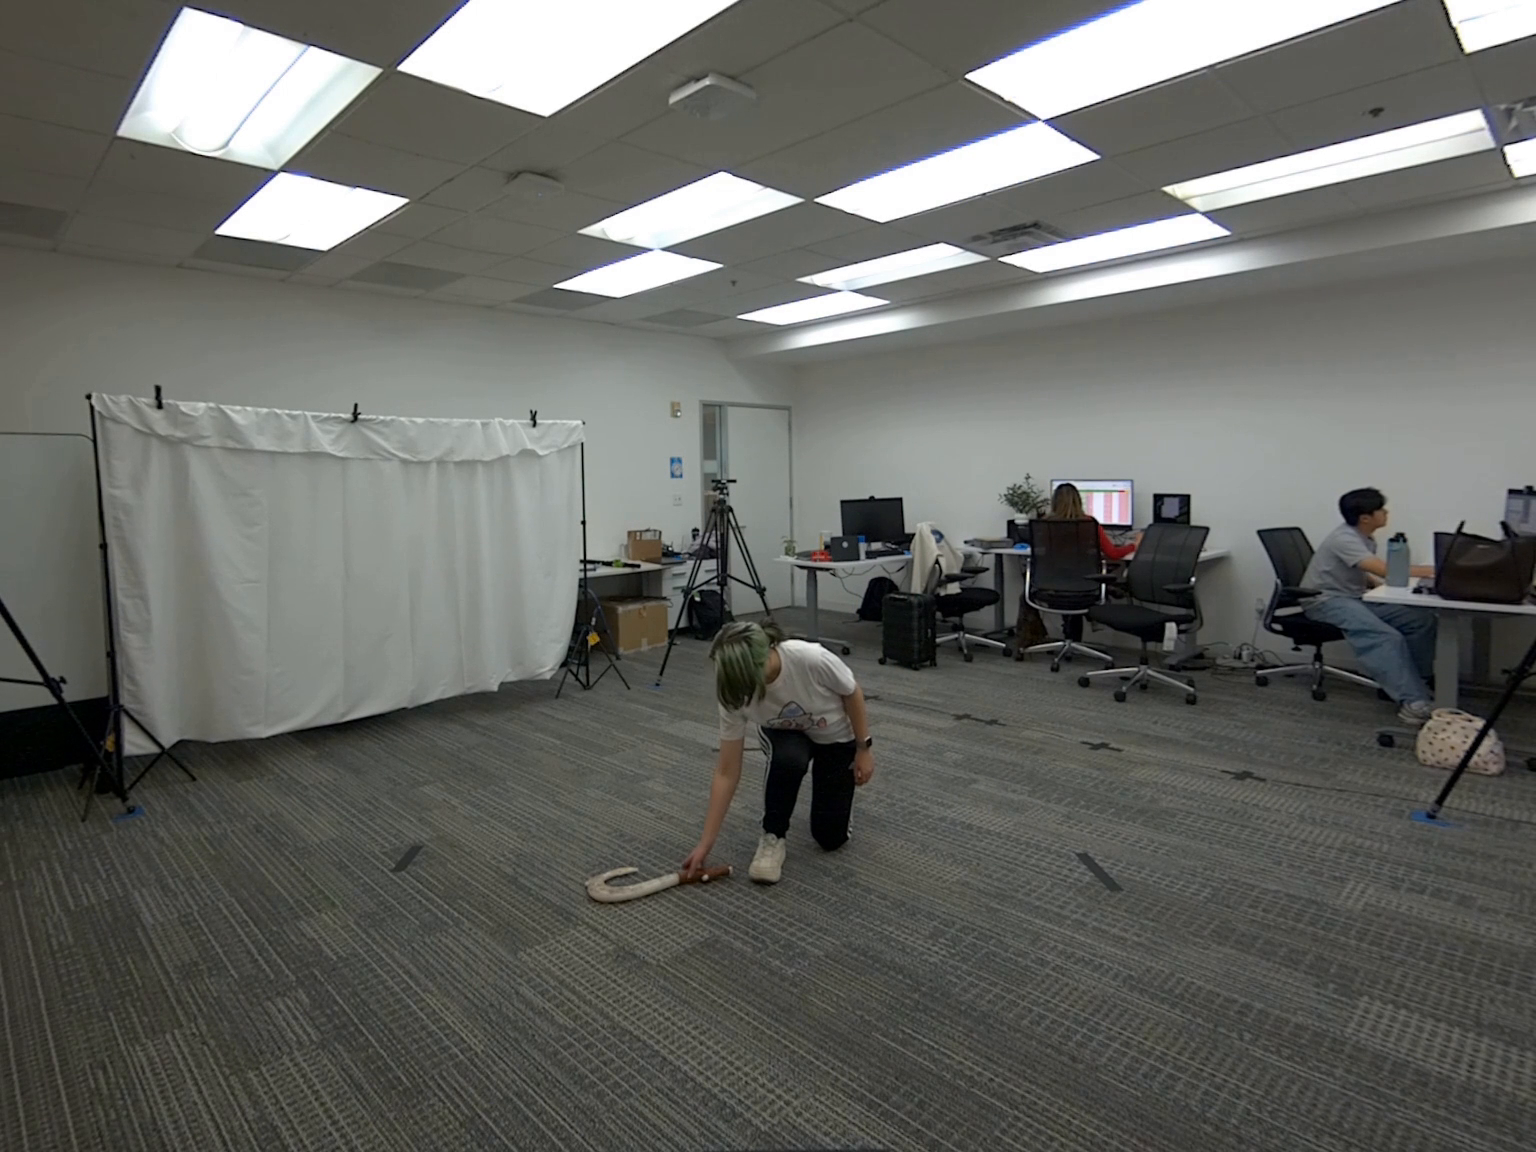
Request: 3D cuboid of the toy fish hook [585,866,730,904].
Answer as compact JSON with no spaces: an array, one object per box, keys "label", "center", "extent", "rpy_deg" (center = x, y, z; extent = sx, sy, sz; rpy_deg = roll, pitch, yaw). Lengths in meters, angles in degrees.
[{"label":"toy fish hook","center":[-0.374,1.044,2.981],"extent":[0.498,0.048,0.230],"rpy_deg":[-3,8,-19]}]
